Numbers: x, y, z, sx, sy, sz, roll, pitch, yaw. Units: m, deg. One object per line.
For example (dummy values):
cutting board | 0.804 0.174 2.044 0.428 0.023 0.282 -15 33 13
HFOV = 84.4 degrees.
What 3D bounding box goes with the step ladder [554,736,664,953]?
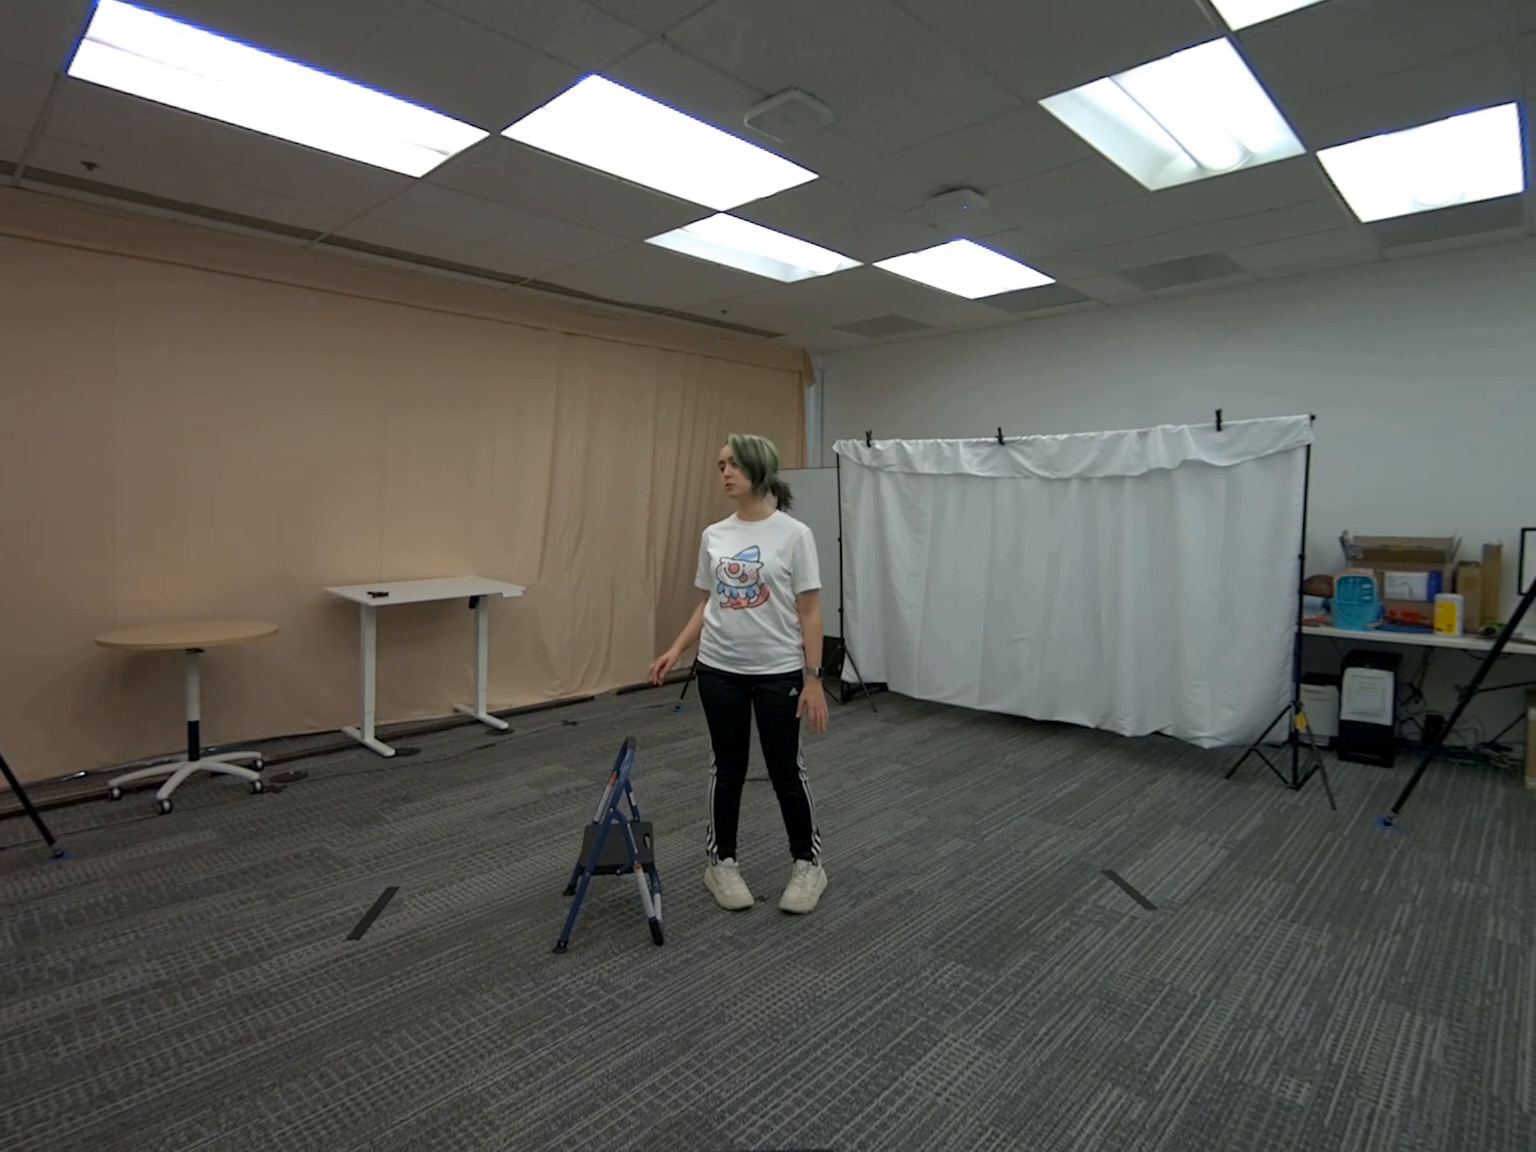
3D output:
step ladder | -0.530 0.861 2.835 0.346 0.605 0.435 -1 4 -9
